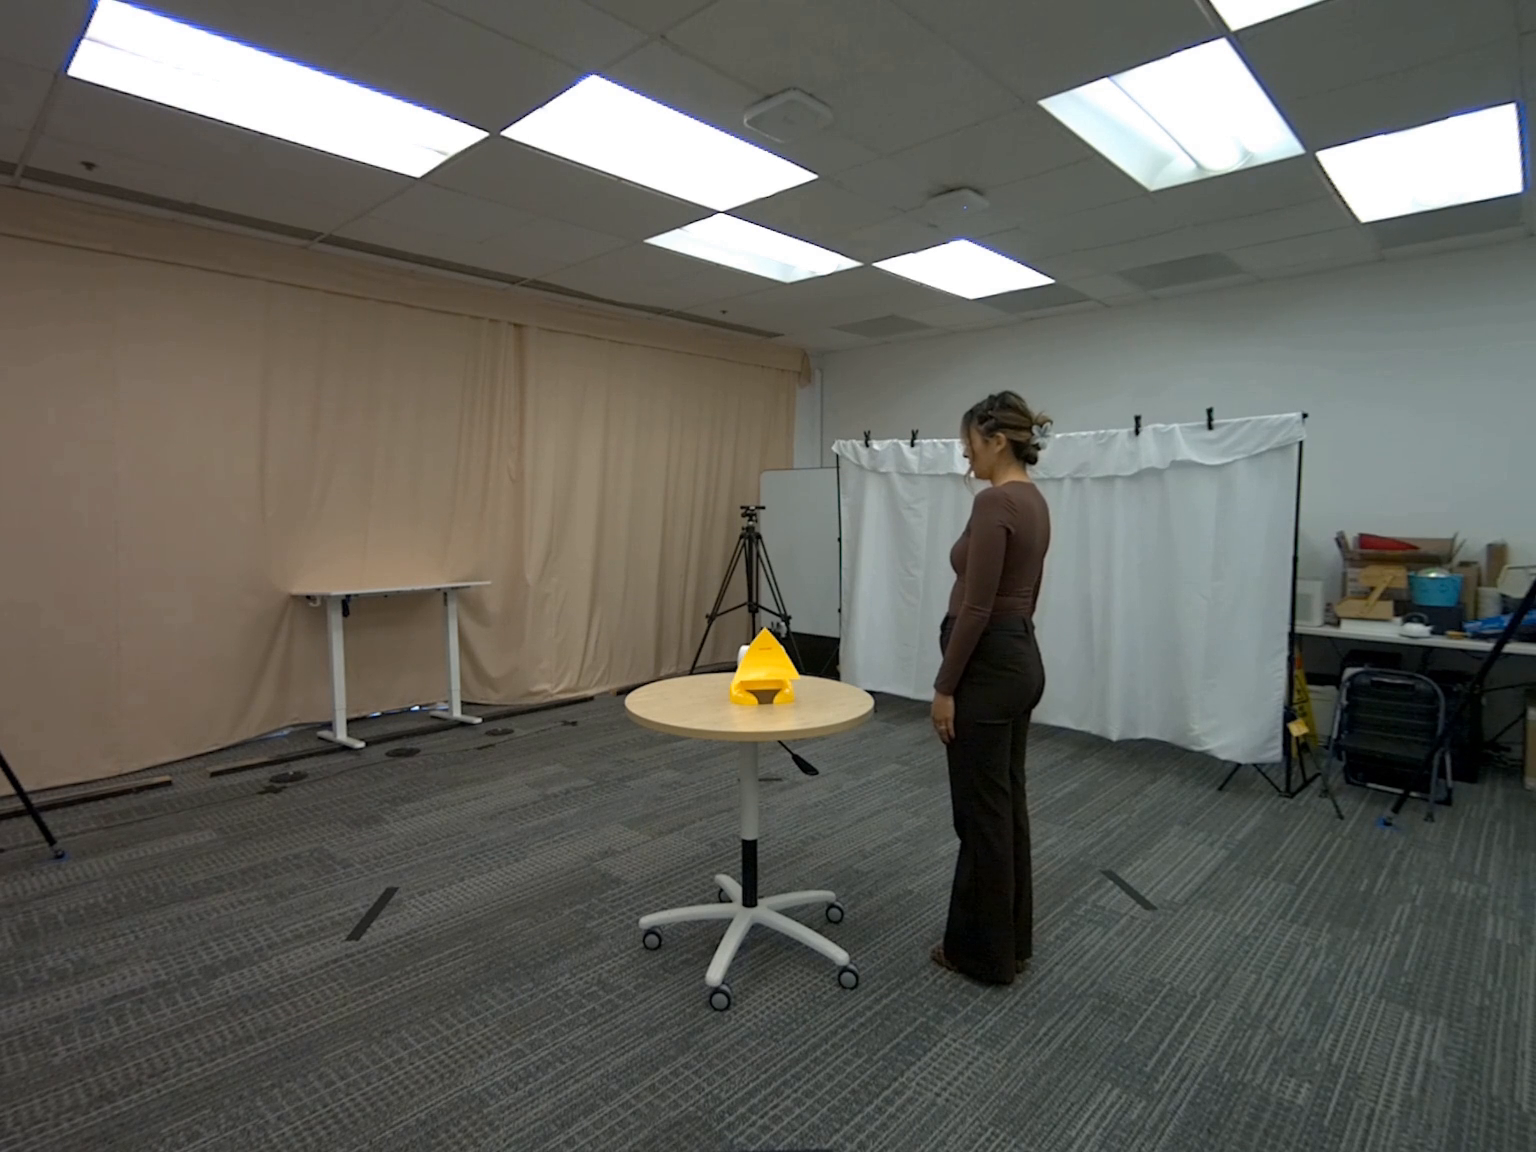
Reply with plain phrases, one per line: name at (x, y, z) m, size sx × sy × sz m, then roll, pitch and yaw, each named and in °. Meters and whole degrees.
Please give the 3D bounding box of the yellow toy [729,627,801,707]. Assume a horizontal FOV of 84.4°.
yellow toy at (-0.022, 0.267, 2.589) m, size 0.203 × 0.230 × 0.195 m, roll -2°, pitch 4°, yaw -8°
